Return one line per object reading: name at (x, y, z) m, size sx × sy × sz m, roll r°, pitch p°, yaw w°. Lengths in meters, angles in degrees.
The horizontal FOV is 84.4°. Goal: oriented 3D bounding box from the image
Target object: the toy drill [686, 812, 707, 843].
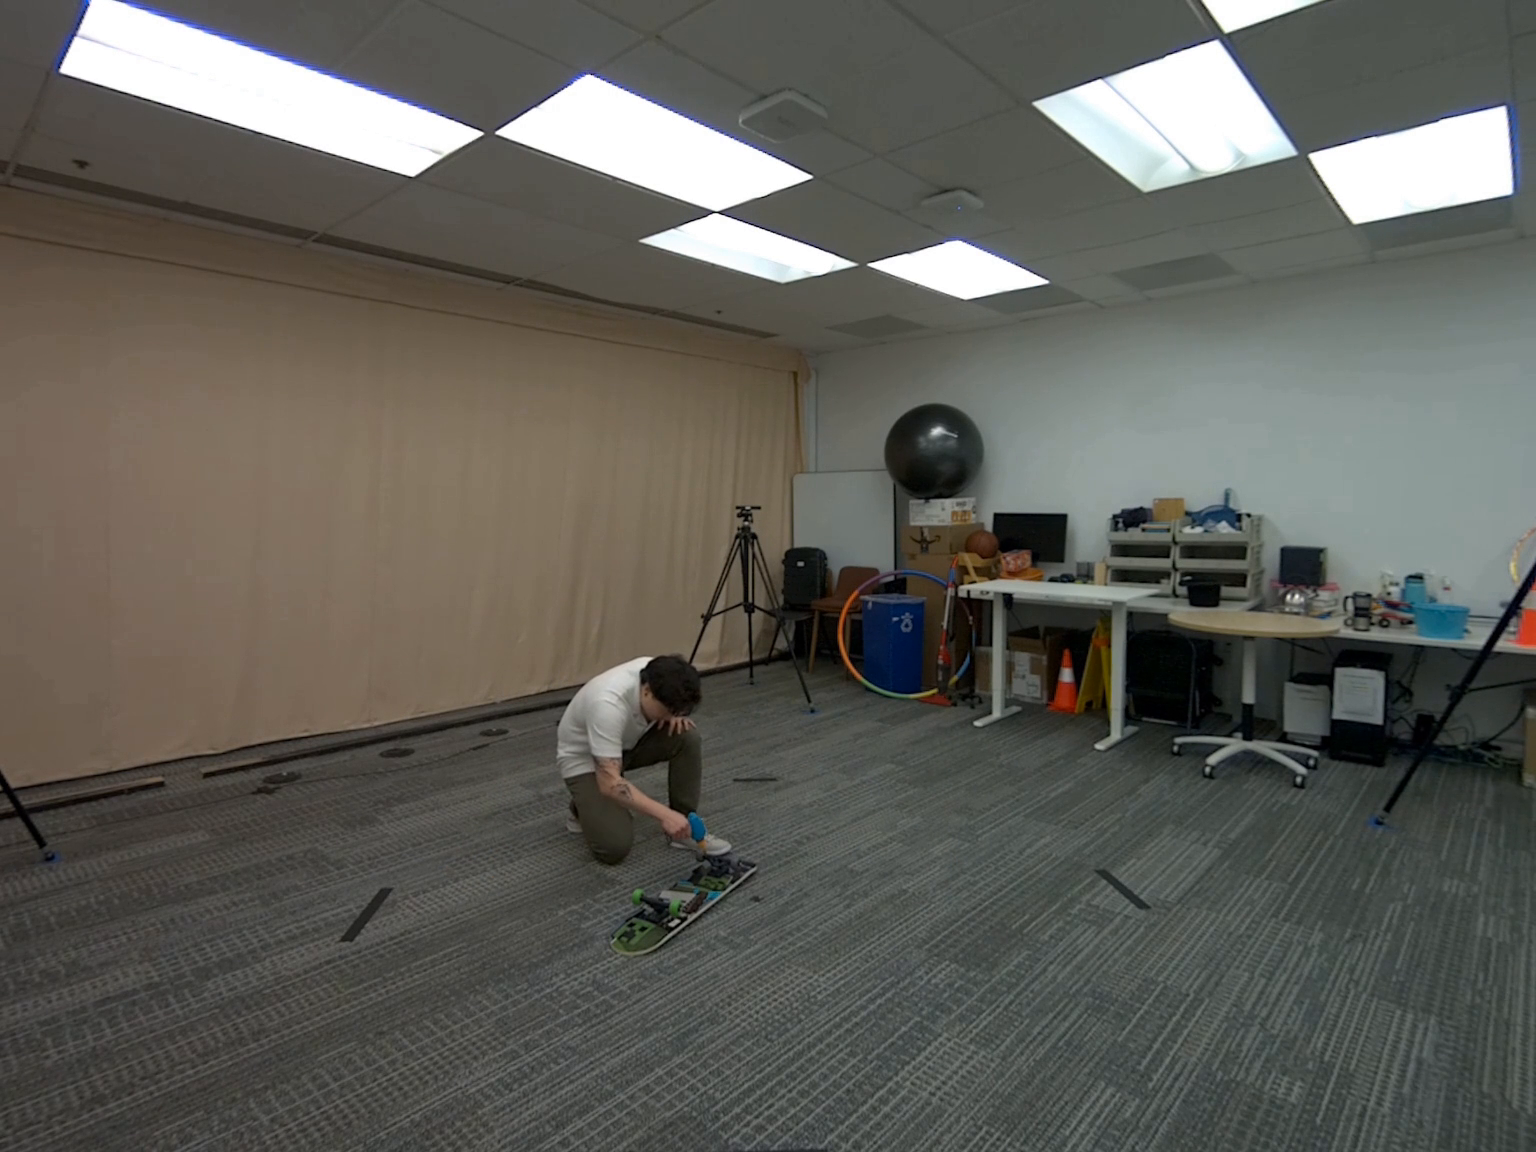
toy drill at (-0.297, 0.952, 3.063) m, size 0.146 × 0.168 × 0.062 m, roll -15°, pitch 13°, yaw 1°
